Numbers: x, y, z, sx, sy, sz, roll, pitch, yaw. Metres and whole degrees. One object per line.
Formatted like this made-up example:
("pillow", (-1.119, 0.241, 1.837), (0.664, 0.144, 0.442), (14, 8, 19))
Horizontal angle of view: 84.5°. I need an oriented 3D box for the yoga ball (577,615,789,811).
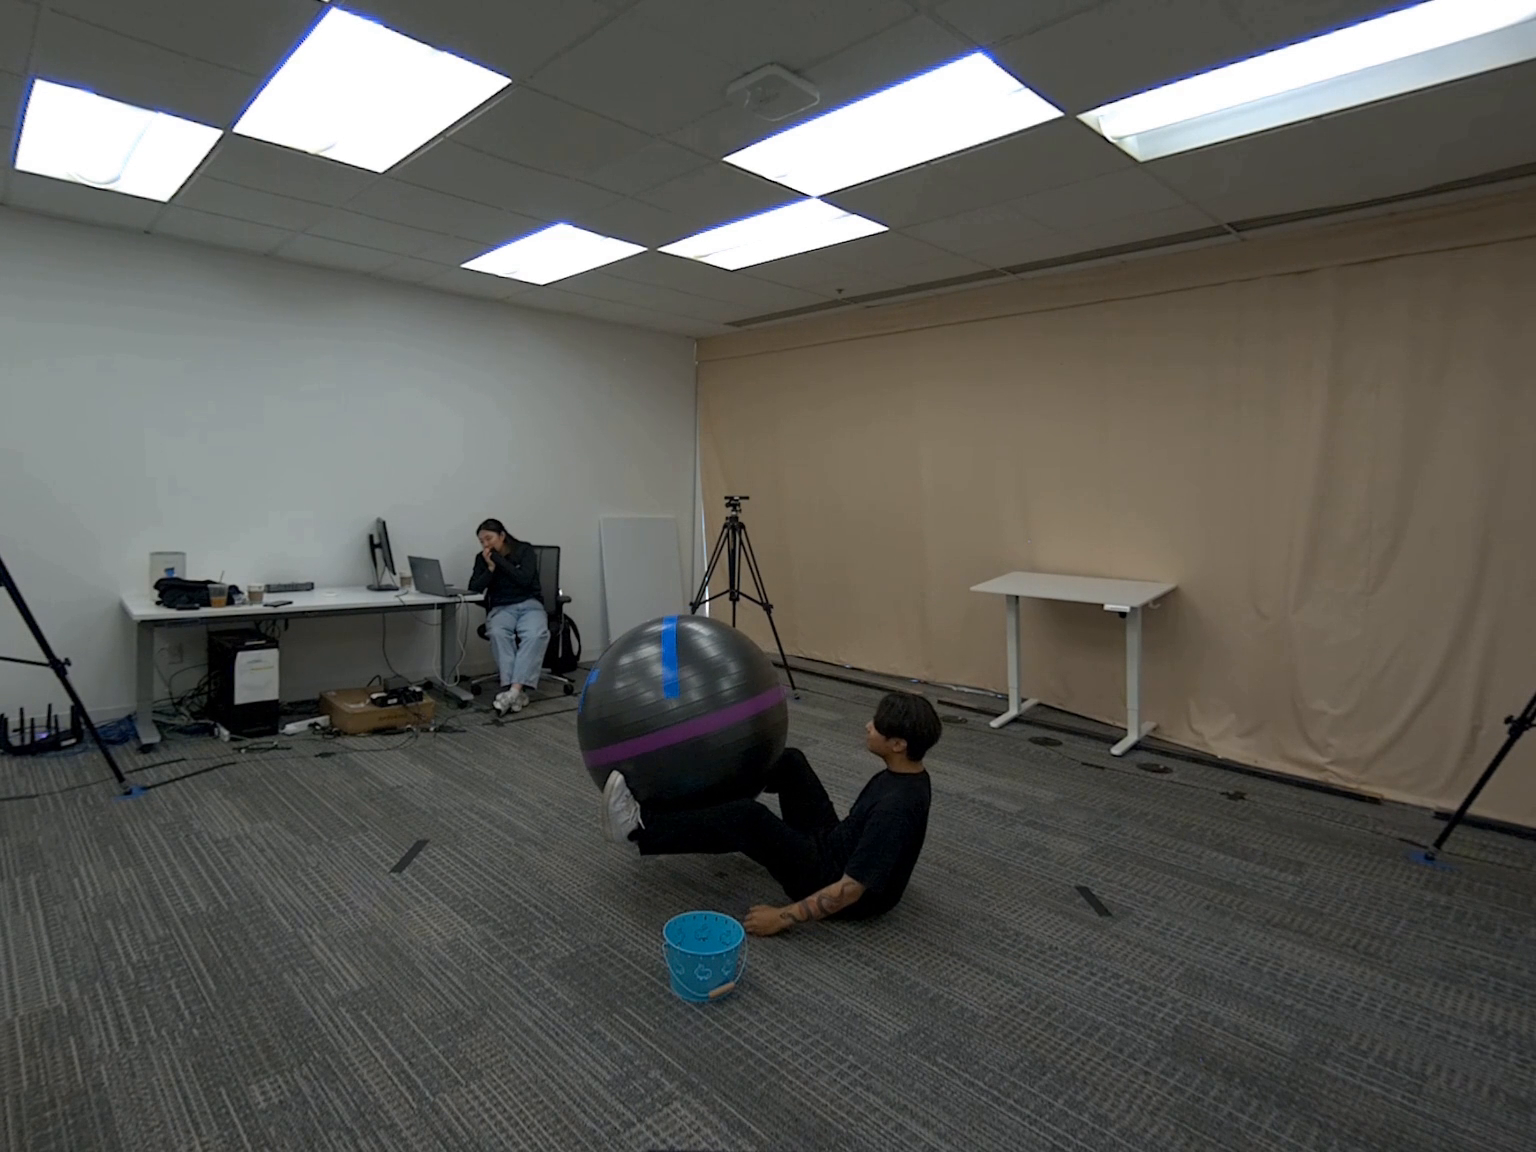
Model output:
("yoga ball", (-0.314, 0.525, 3.061), (0.757, 0.756, 0.761), (1, 4, -1))
